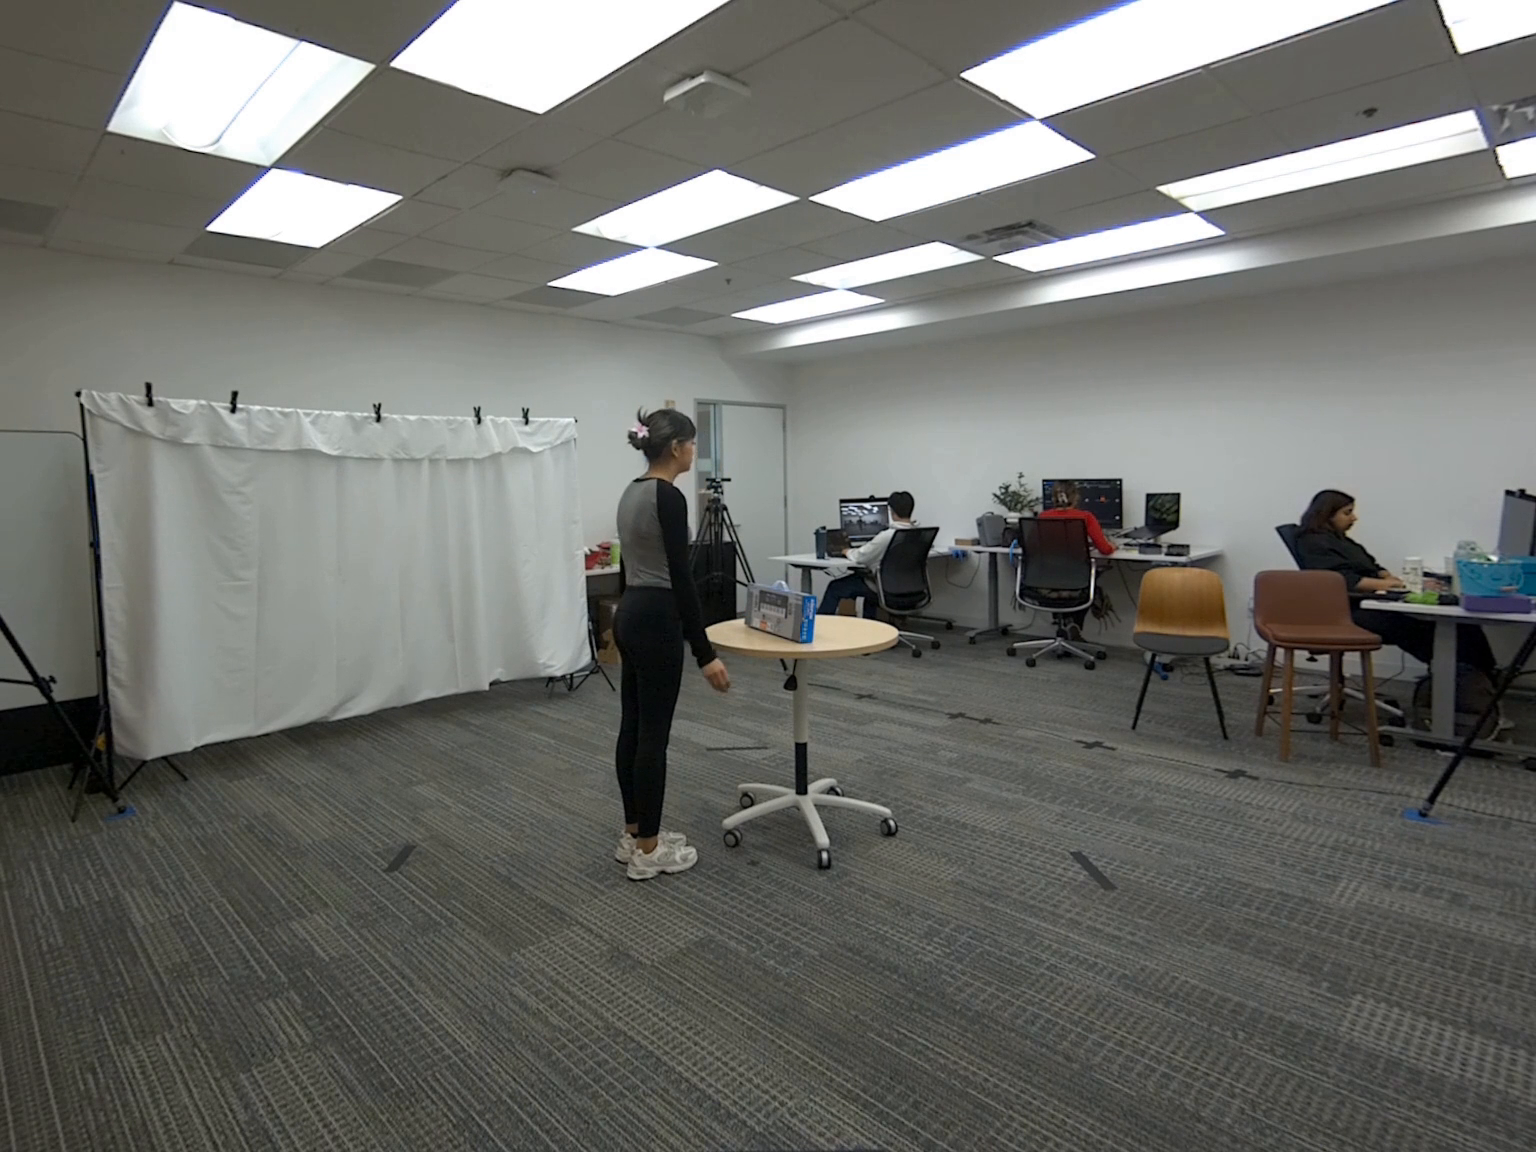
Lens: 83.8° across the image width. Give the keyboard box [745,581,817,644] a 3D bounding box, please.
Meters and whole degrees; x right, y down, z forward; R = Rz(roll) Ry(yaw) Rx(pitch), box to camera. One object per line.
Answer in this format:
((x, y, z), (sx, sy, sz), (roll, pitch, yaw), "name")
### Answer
((0.038, 0.137, 3.310), (0.058, 0.176, 0.448), (4, 3, -27), "keyboard box")
